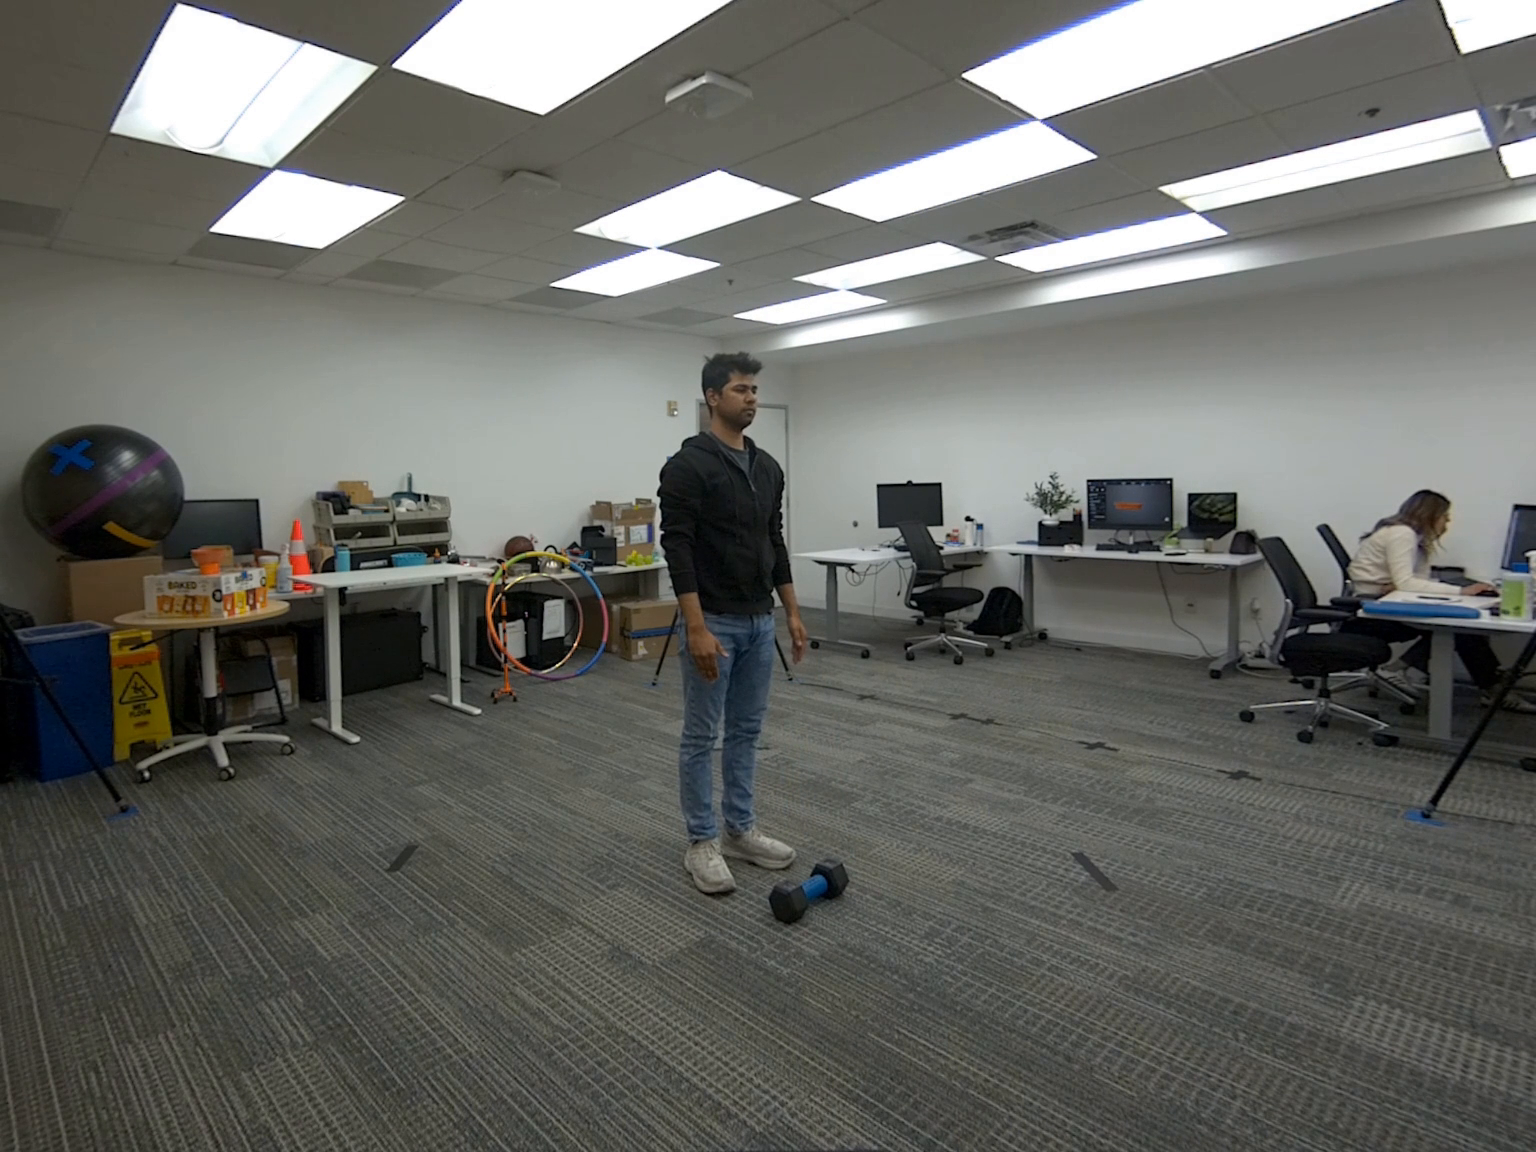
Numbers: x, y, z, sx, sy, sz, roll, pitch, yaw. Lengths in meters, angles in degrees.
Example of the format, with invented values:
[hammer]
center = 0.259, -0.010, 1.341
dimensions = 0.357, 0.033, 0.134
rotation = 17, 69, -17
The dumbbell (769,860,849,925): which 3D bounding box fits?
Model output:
[dumbbell]
center = 0.142, 1.025, 2.791
dimensions = 0.286, 0.121, 0.113
rotation = -9, 40, -47
